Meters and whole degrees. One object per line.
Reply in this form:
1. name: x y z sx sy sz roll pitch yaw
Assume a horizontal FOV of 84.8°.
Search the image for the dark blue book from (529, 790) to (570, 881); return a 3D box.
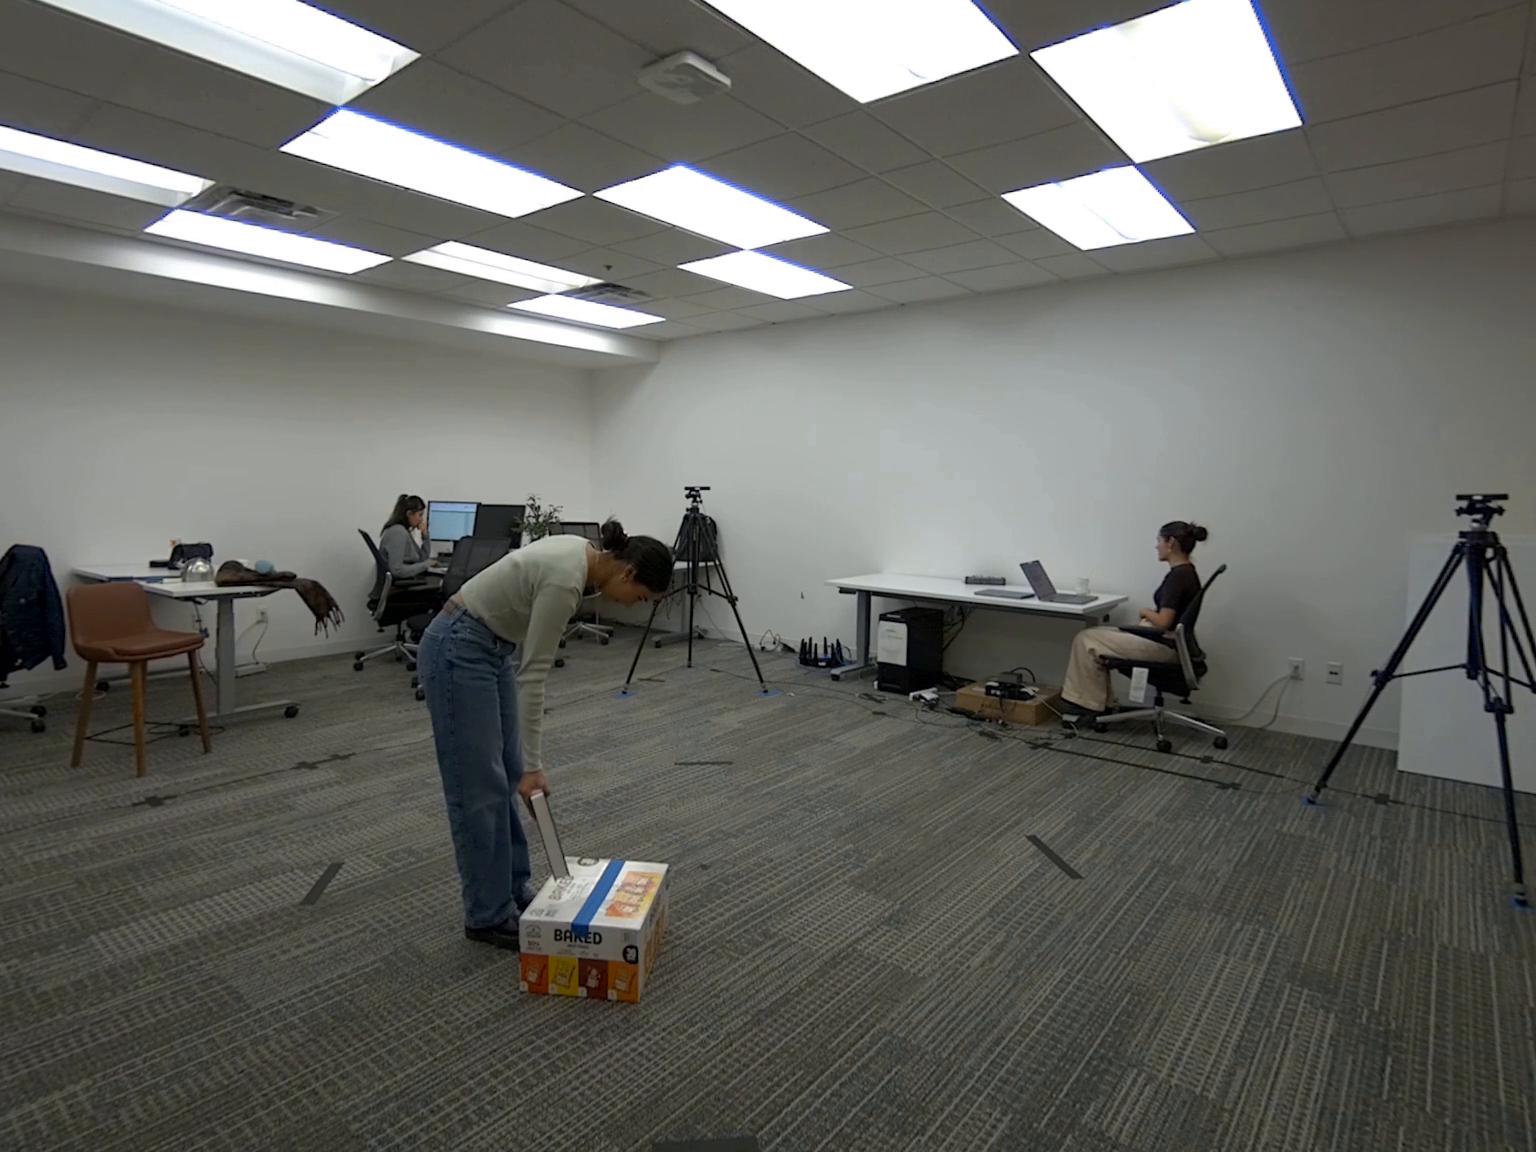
1. dark blue book: -0.644 0.732 2.449 0.044 0.245 0.165 -13 -1 -19
